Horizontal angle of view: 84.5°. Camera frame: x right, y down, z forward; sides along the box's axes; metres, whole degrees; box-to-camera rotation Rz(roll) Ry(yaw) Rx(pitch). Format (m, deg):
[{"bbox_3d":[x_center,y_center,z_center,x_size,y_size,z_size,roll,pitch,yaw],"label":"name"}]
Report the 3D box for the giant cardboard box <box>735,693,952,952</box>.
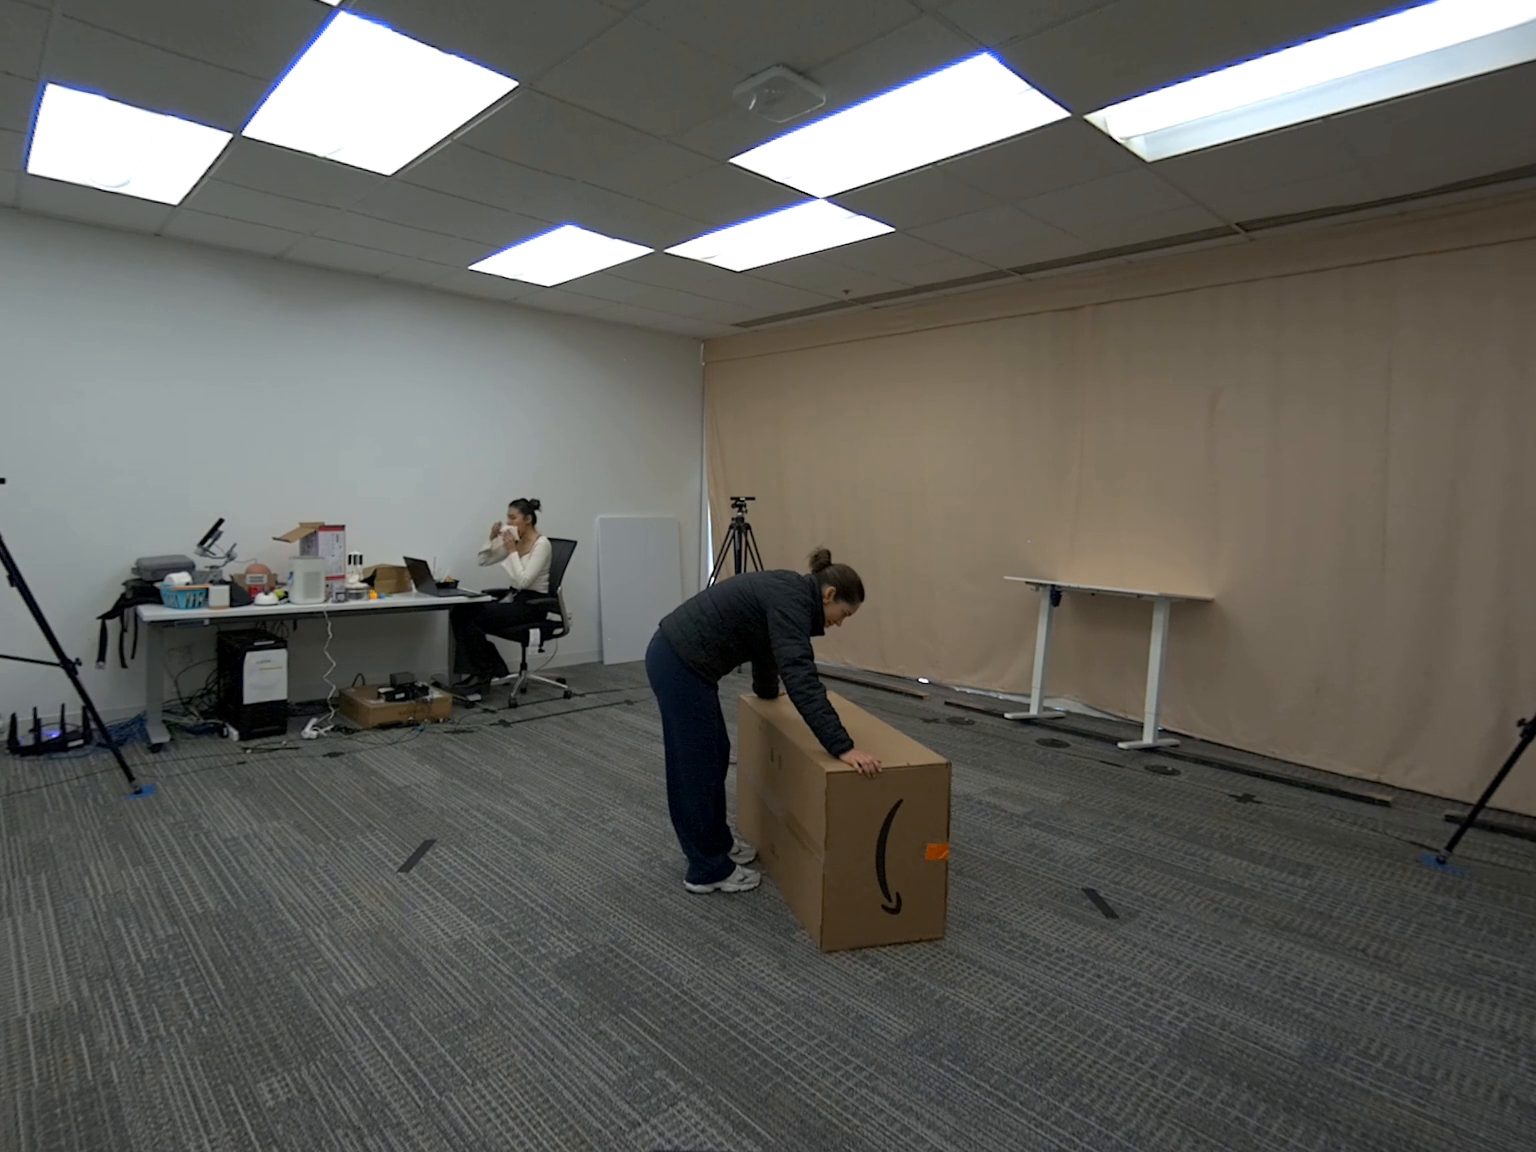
[{"bbox_3d":[0.224,0.828,3.107,0.441,0.582,1.043,-1,6,-16],"label":"giant cardboard box"}]
